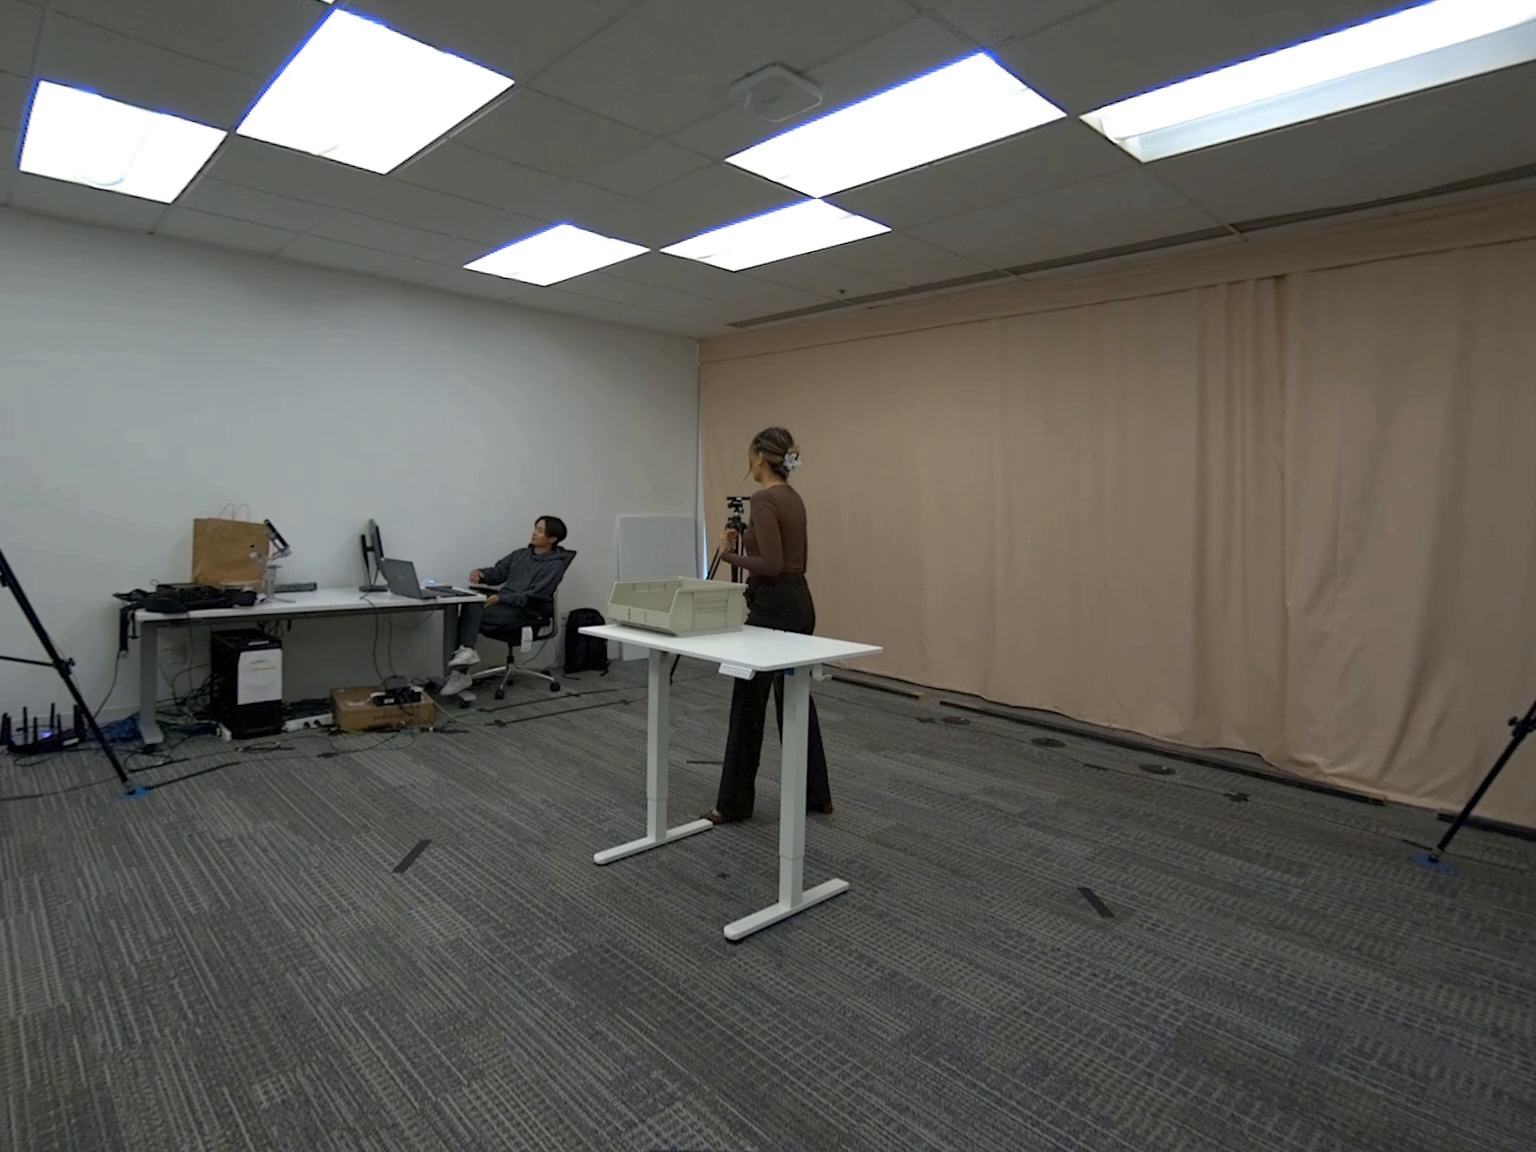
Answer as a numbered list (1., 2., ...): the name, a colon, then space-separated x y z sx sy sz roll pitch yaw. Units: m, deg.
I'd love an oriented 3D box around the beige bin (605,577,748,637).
1. beige bin: -0.368 0.119 3.278 0.368 0.189 0.433 -1 3 -44
